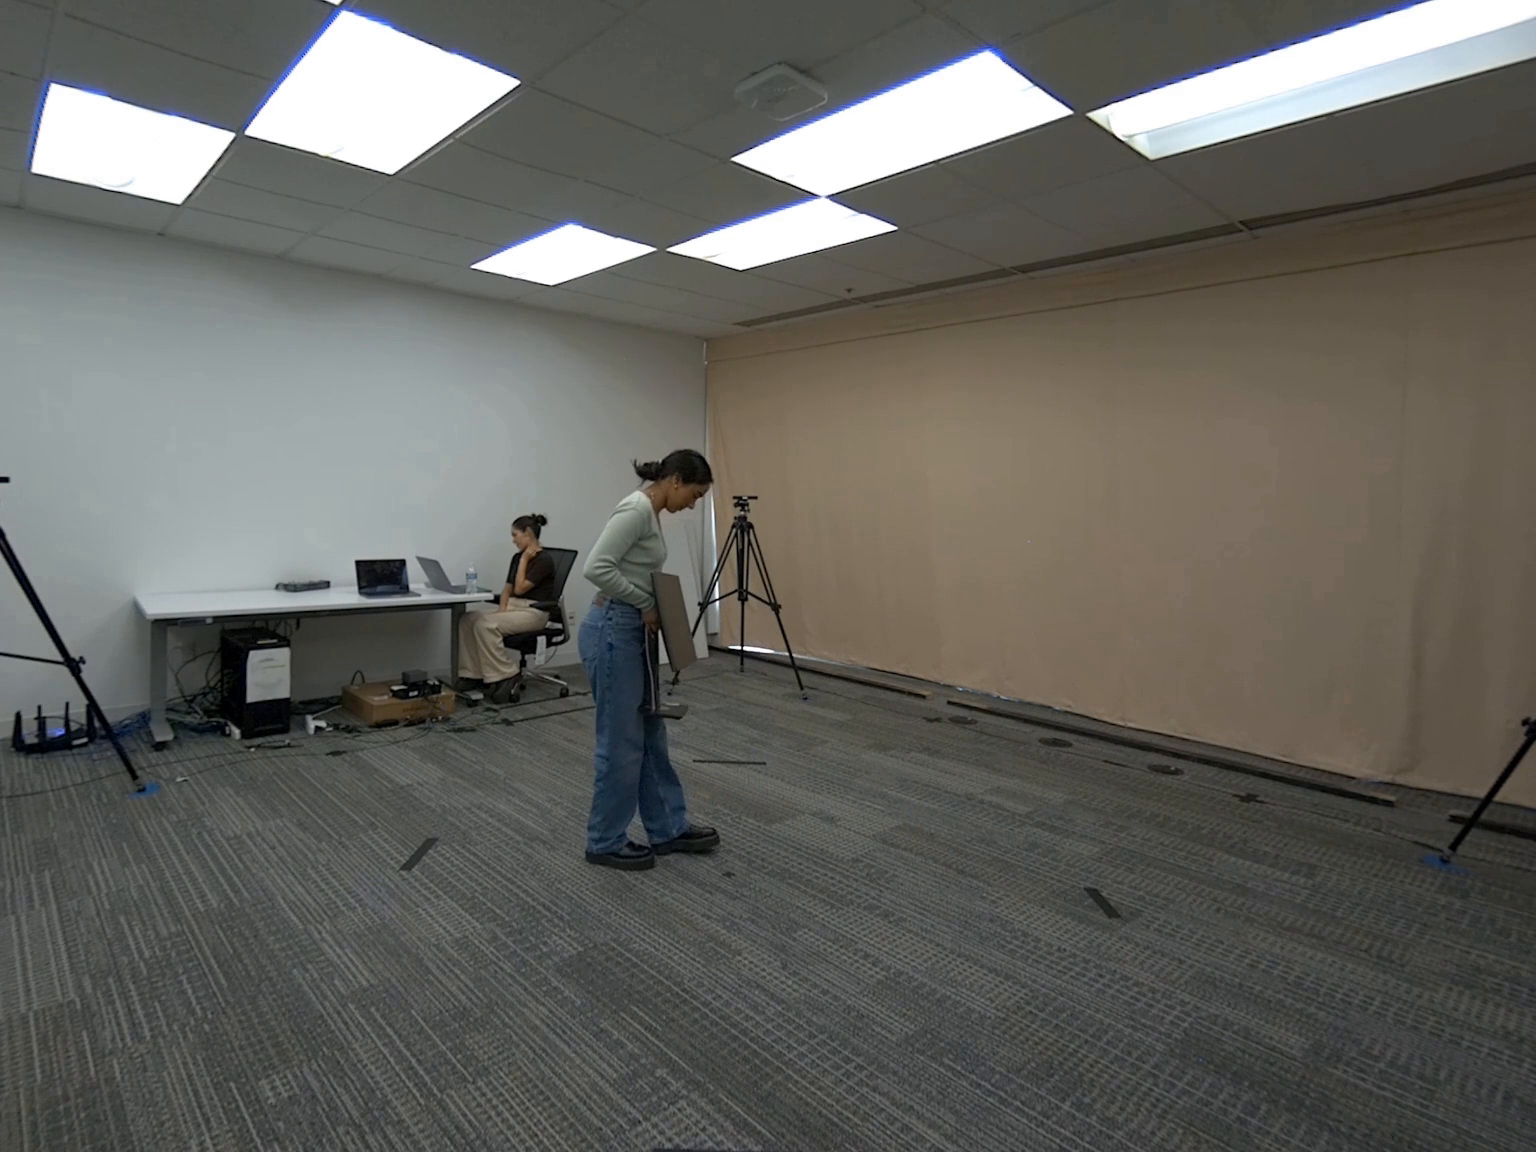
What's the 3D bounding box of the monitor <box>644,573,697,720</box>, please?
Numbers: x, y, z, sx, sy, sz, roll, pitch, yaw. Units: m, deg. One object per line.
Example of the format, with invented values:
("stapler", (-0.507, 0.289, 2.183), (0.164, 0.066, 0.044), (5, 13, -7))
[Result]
("monitor", (-0.384, 0.248, 3.135), (0.176, 0.516, 0.526), (7, -1, 5))
